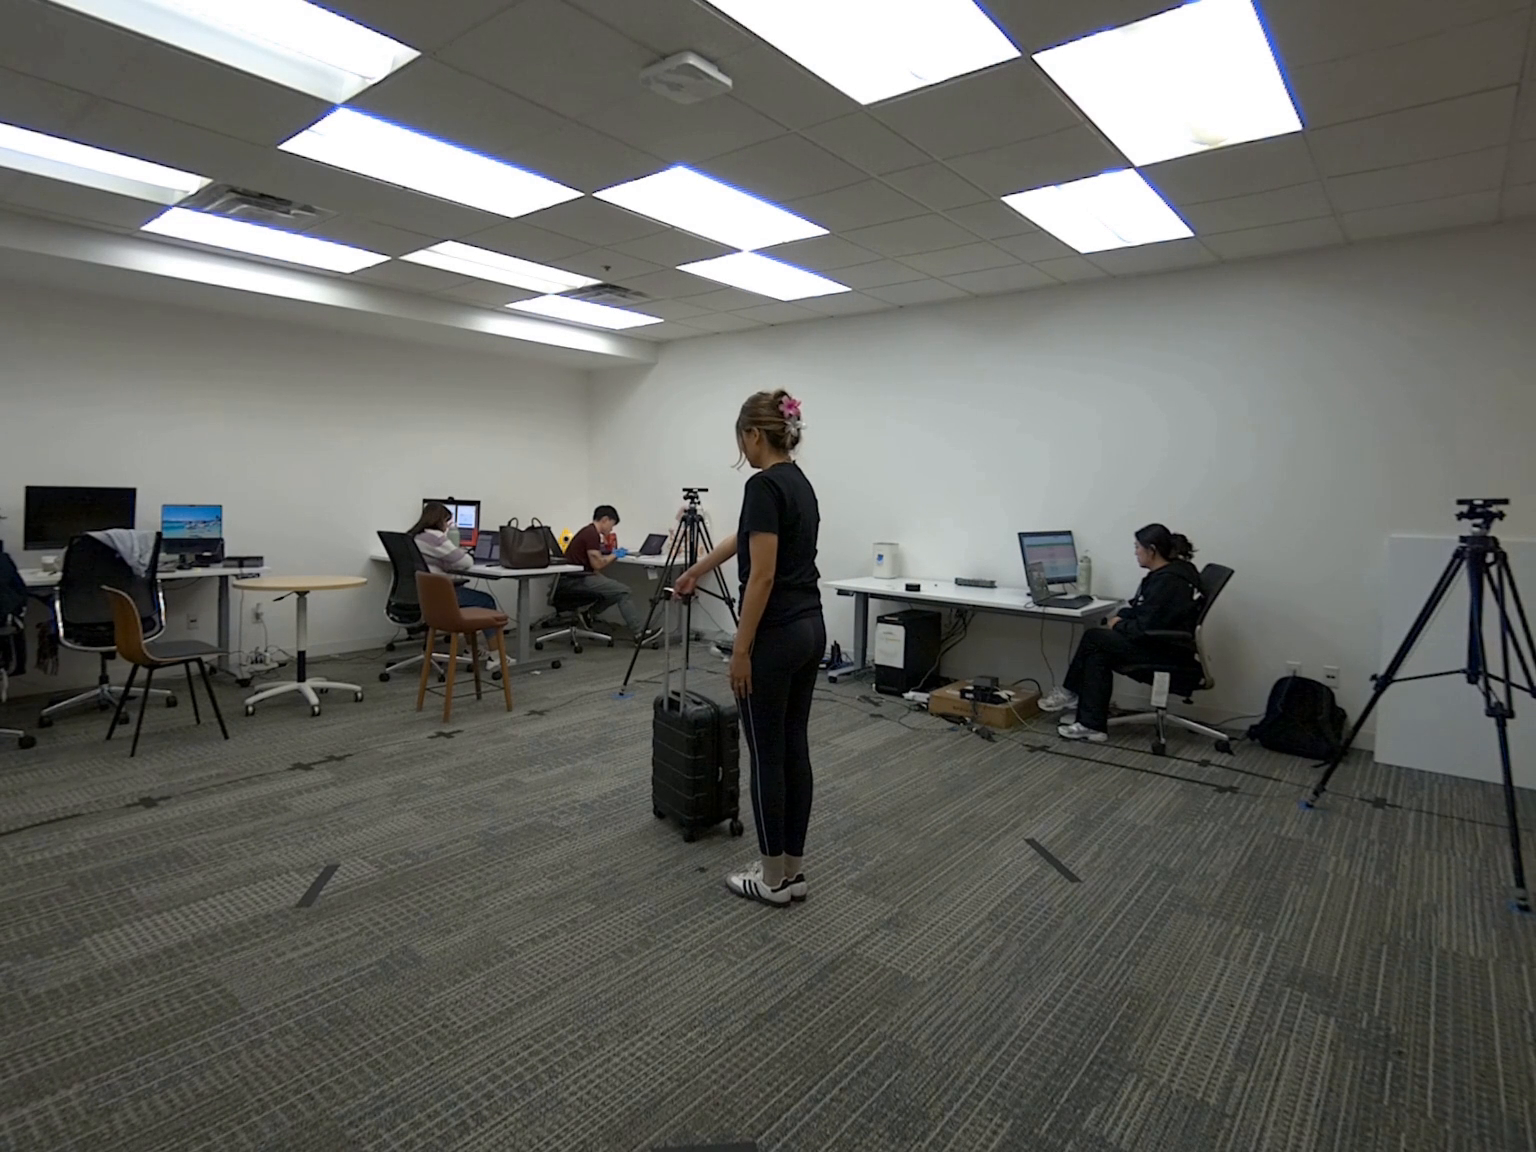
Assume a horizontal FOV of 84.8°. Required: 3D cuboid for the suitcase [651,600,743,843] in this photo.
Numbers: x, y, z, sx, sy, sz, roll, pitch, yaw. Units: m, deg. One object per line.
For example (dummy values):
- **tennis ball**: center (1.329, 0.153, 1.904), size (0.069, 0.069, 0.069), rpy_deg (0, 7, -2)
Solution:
- **suitcase**: center (-0.308, 0.557, 3.498), size (0.250, 0.975, 0.396), rpy_deg (0, 4, -30)
